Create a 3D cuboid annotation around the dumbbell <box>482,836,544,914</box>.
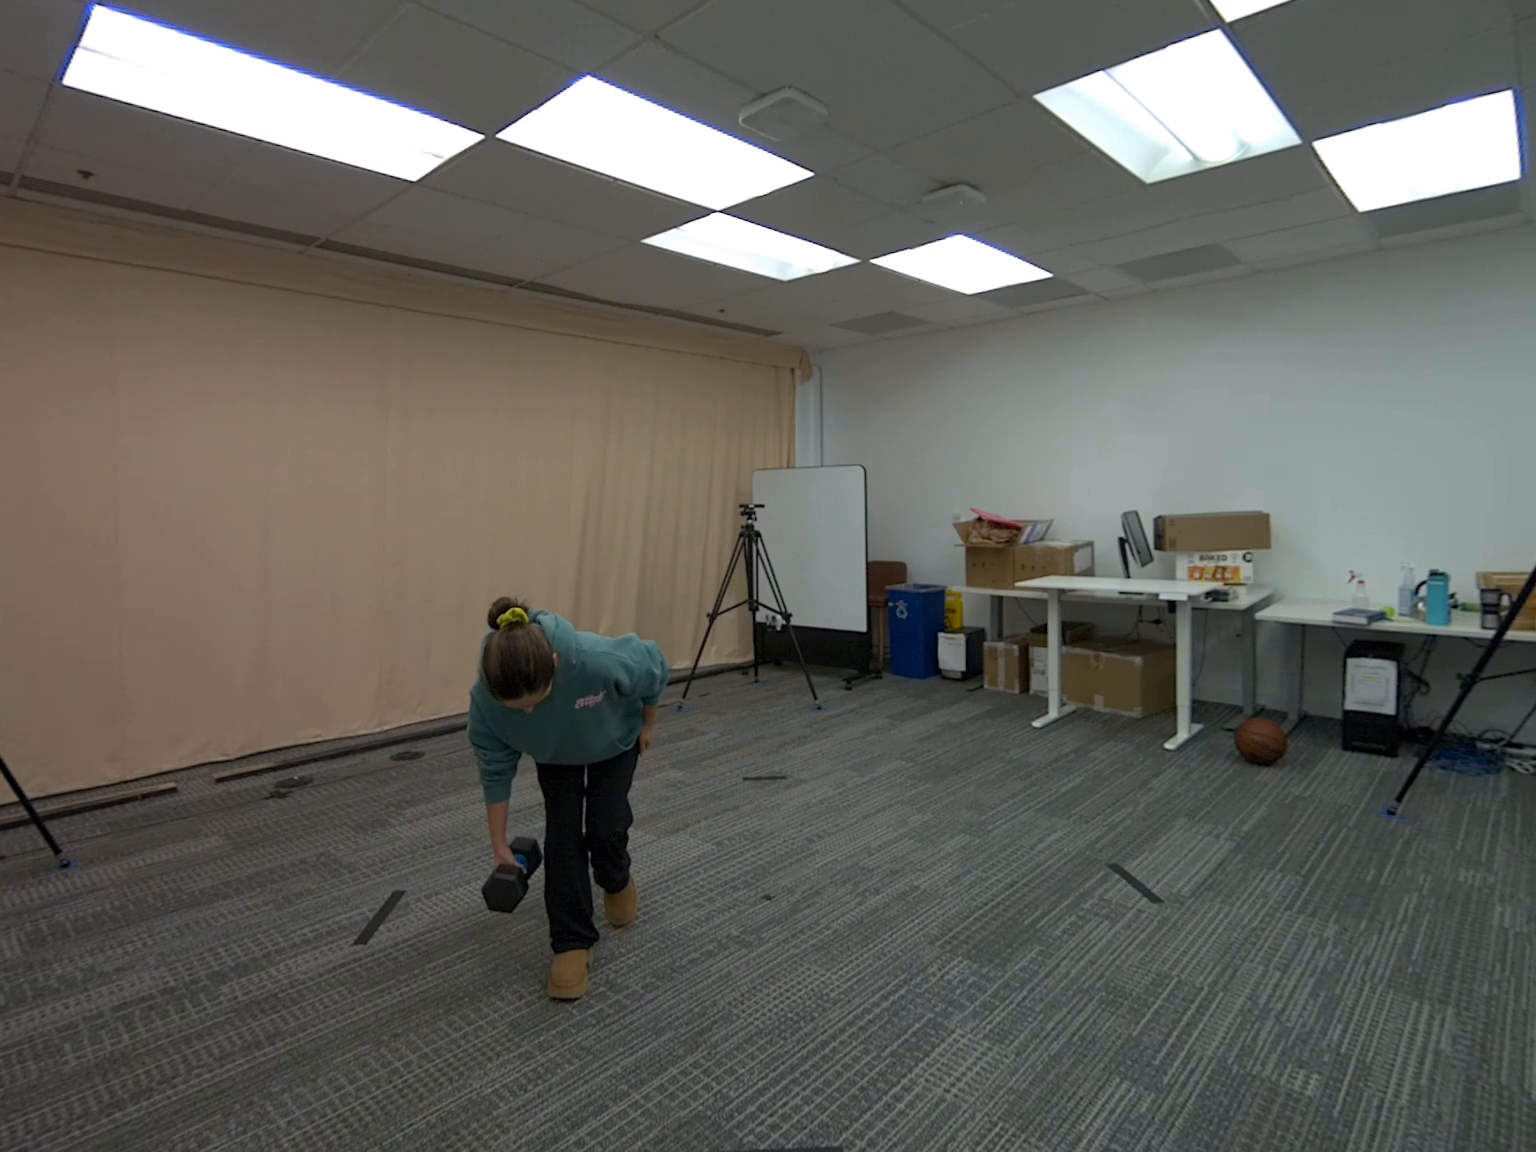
[{"bbox_3d":[-0.731,0.854,2.417,0.108,0.123,0.295,-22,4,-4],"label":"dumbbell"}]
